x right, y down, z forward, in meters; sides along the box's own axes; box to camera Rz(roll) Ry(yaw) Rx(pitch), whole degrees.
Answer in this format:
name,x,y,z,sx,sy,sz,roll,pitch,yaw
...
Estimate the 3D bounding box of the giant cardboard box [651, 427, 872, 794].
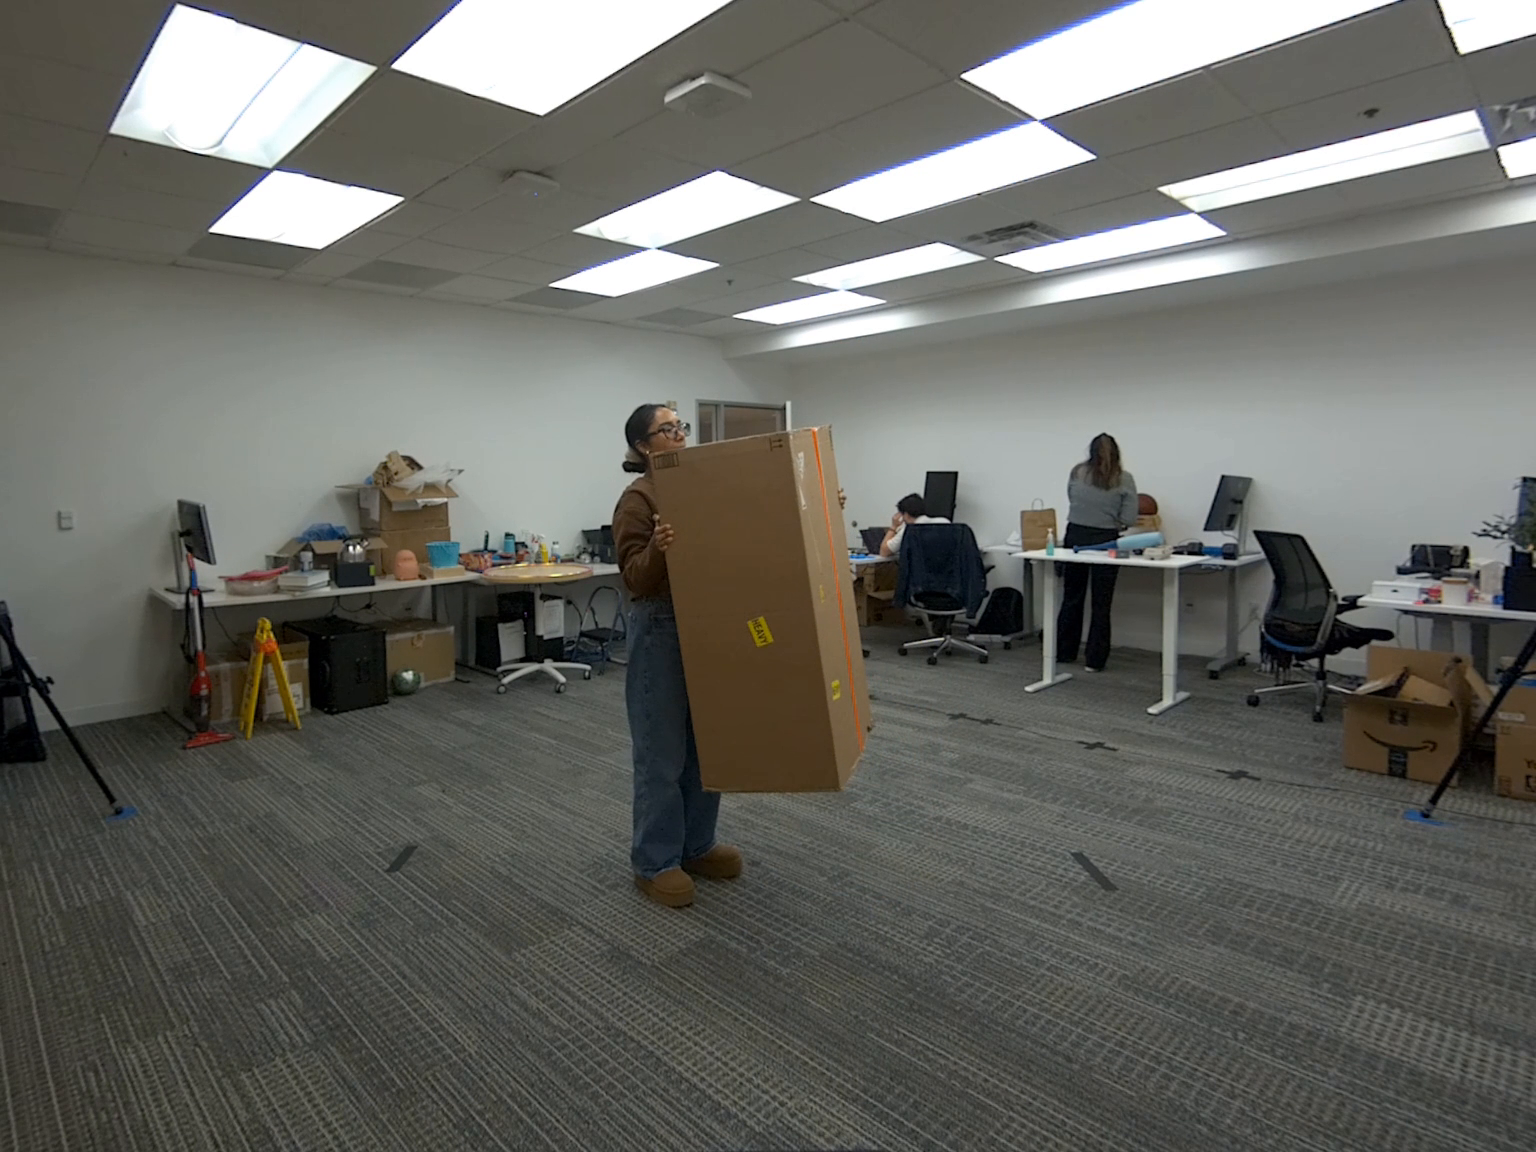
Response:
name,x,y,z,sx,sy,sz,roll,pitch,yaw
giant cardboard box,0.016,0.074,2.688,0.433,1.020,0.572,-7,6,19
